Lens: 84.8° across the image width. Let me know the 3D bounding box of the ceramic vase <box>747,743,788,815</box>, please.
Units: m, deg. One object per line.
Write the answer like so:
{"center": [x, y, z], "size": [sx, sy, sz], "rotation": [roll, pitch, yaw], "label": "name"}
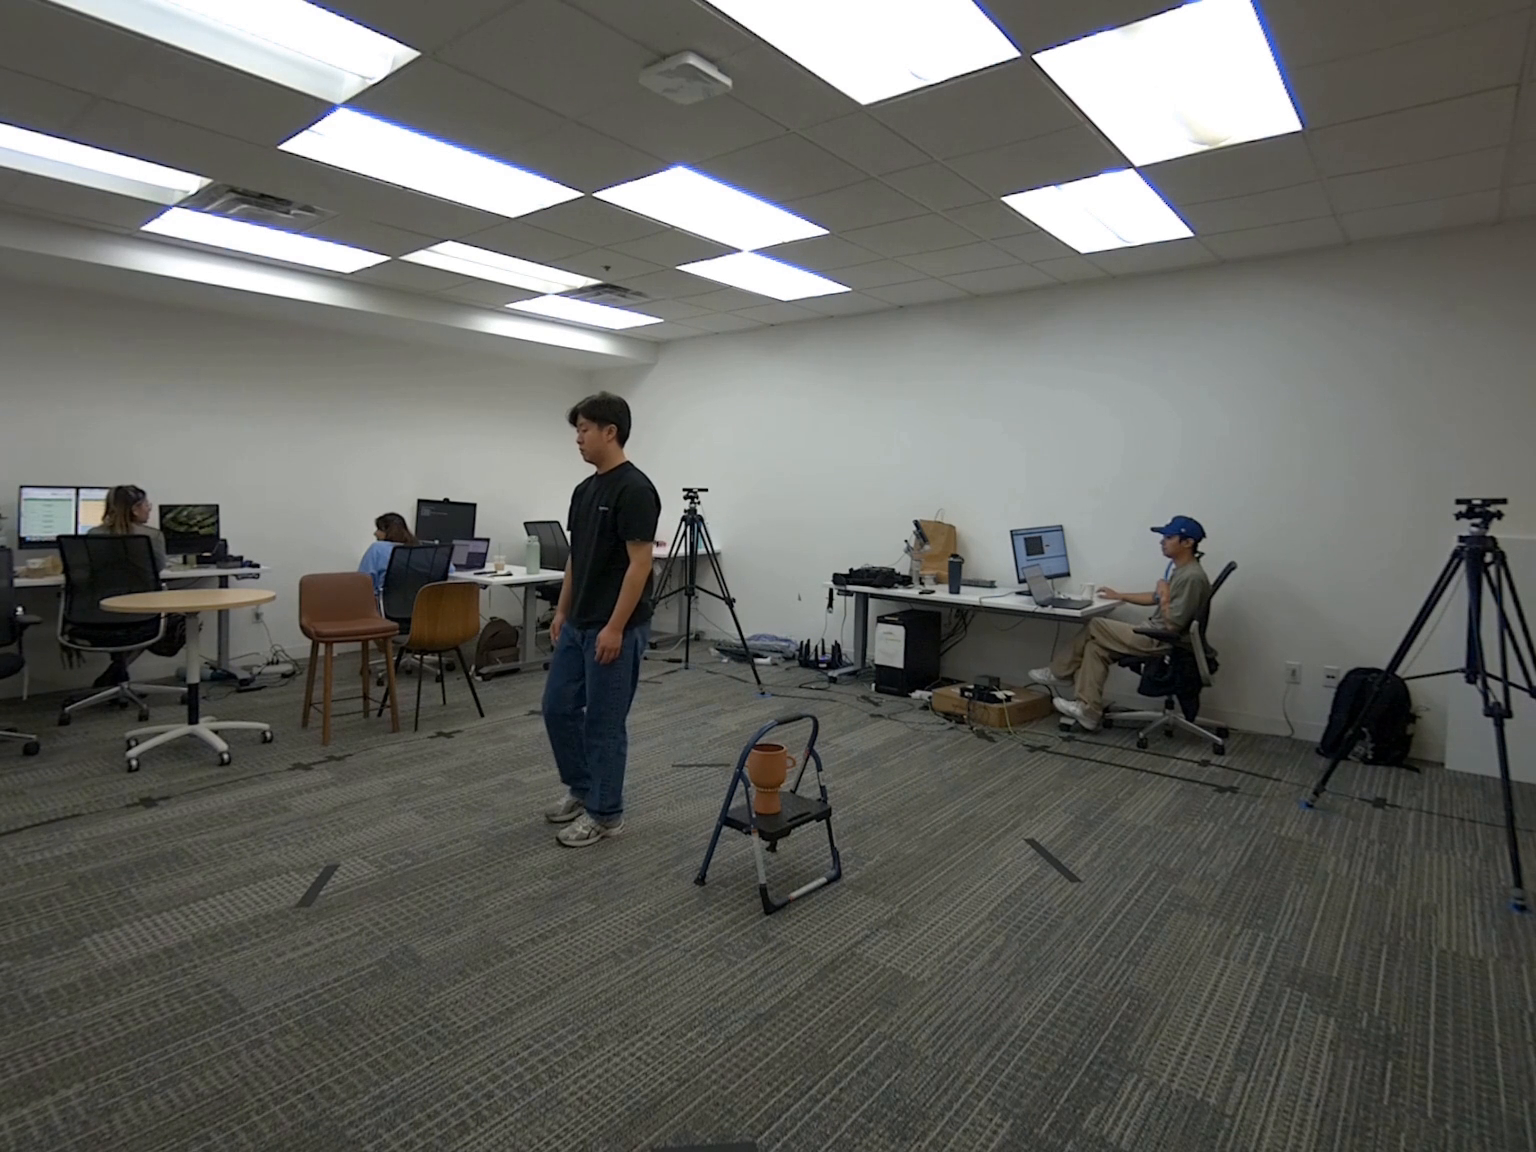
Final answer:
{"center": [-0.011, 0.713, 2.994], "size": [0.164, 0.219, 0.131], "rotation": [3, 3, 35], "label": "ceramic vase"}
